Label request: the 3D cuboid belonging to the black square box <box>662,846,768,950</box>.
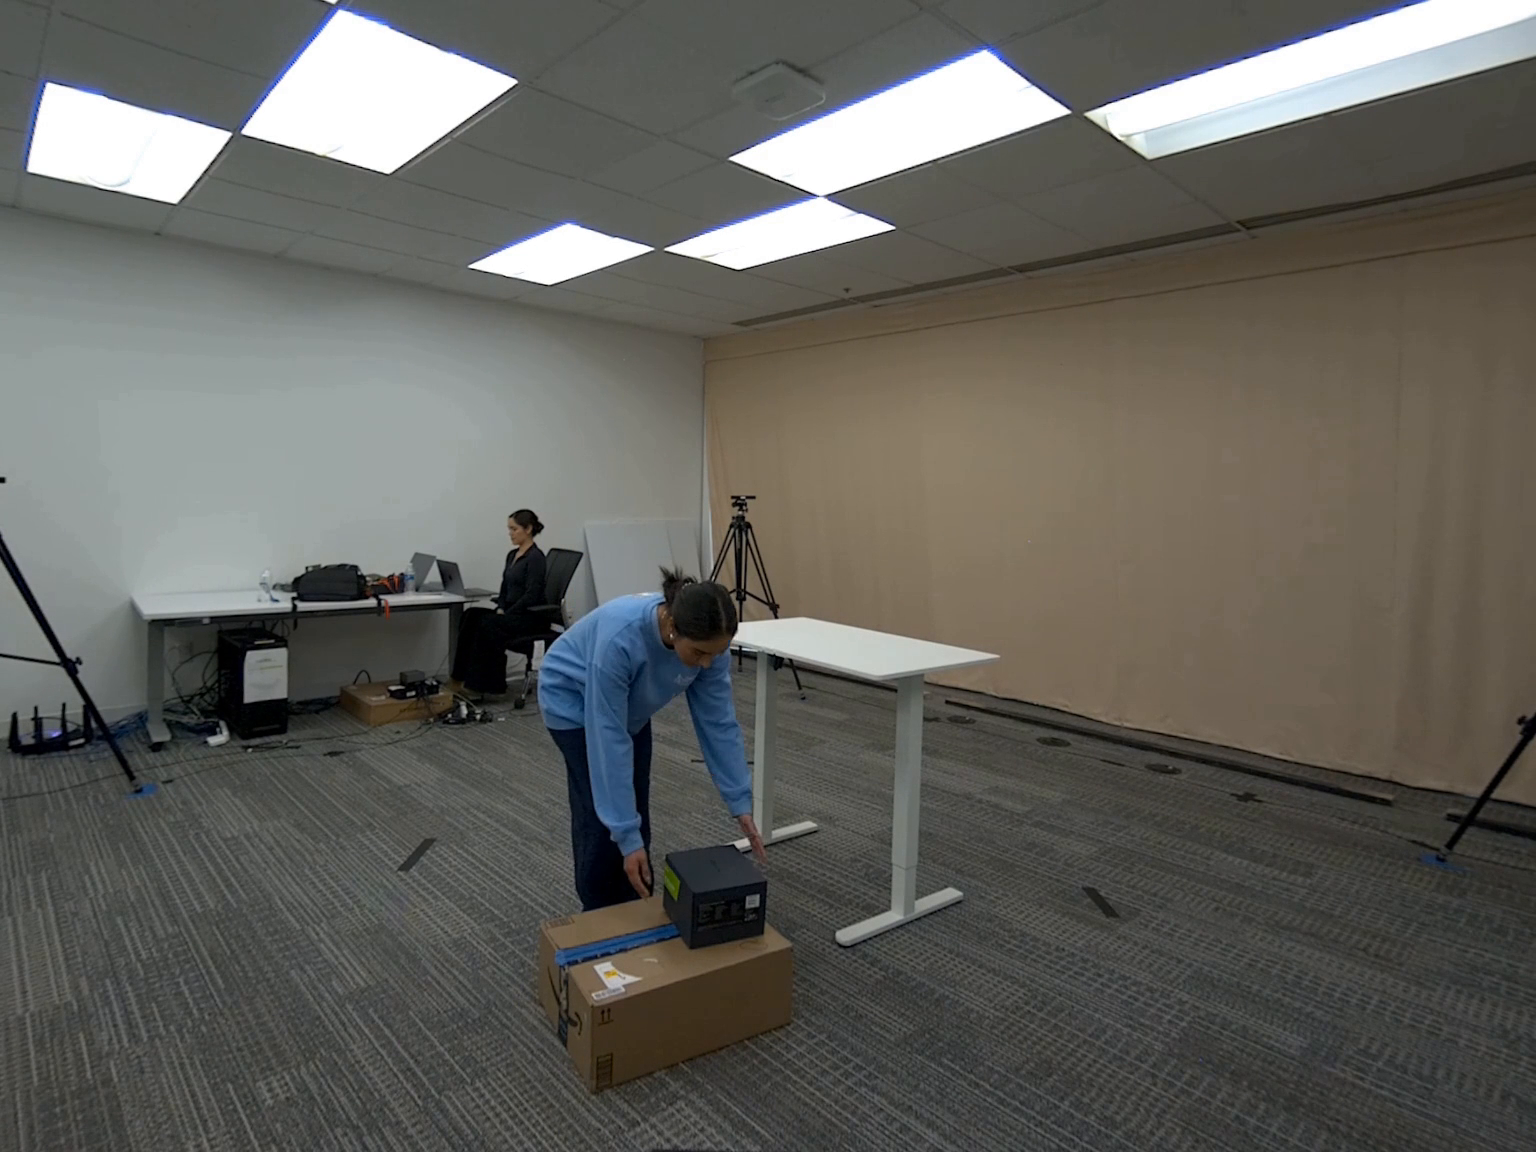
[{"bbox_3d":[-0.155,0.870,2.315,0.213,0.155,0.233,0,8,-24],"label":"black square box"}]
